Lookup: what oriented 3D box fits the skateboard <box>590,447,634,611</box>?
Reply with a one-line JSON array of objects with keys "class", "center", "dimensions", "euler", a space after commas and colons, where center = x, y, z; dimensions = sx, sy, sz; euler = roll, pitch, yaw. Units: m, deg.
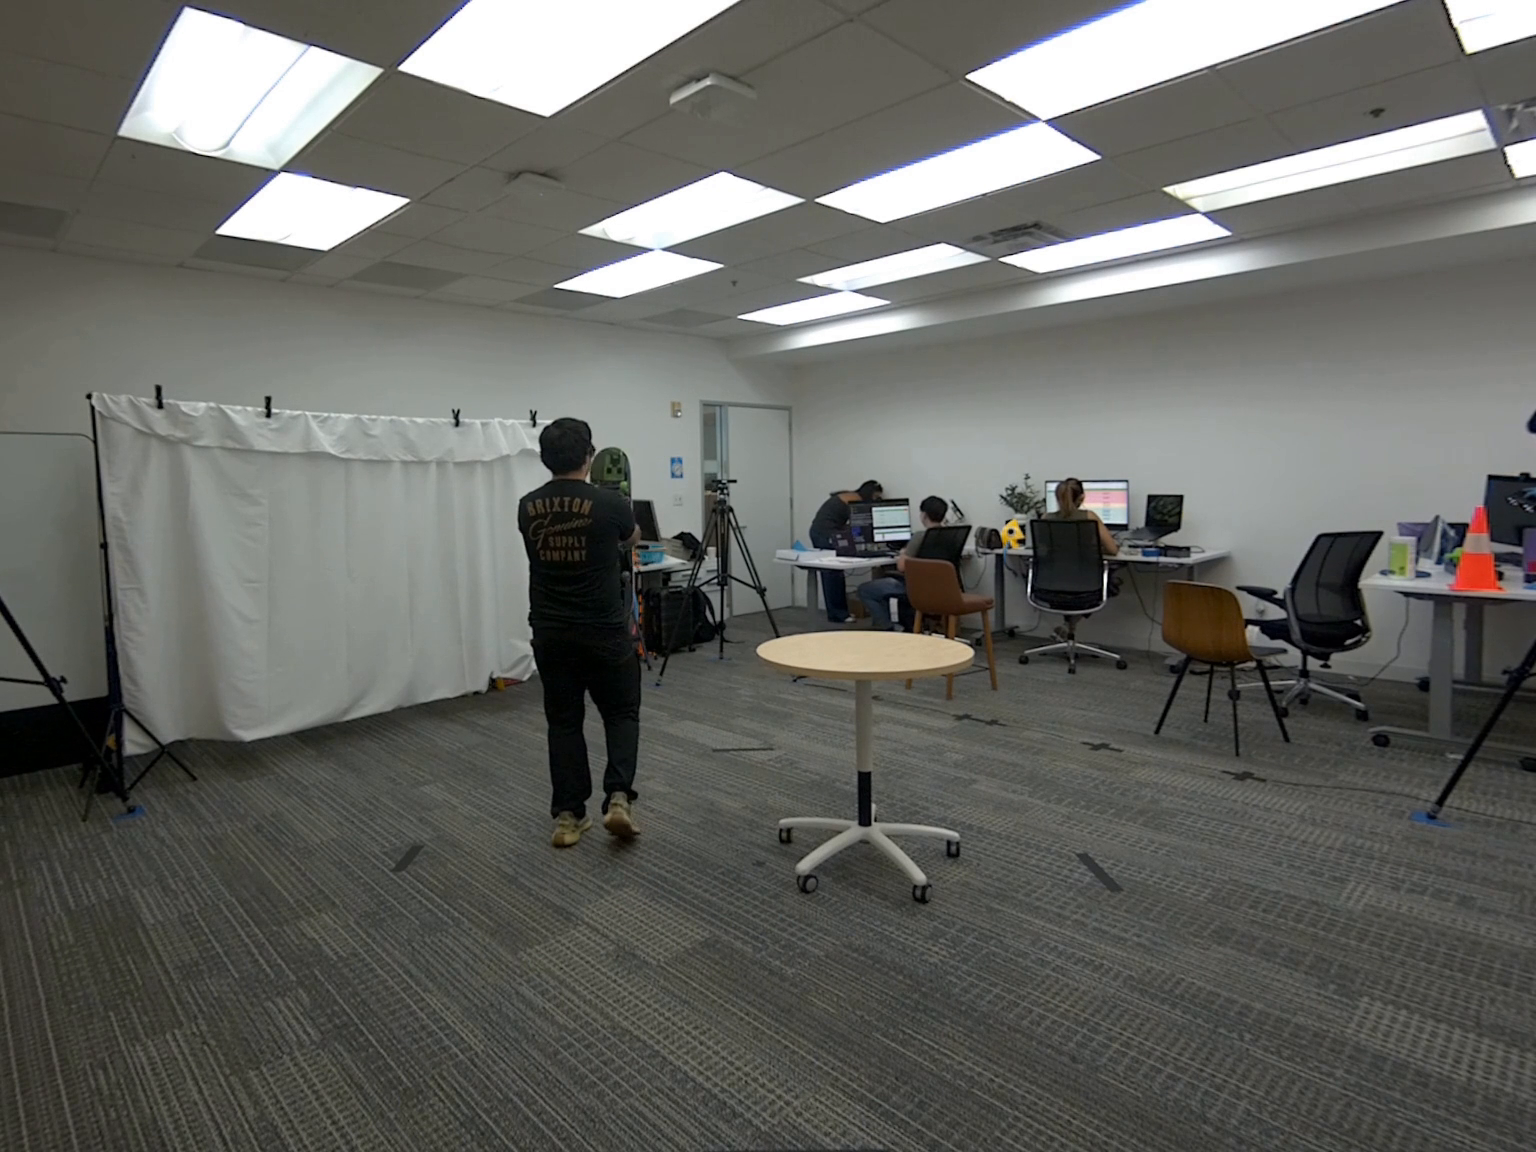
[{"class": "skateboard", "center": [-0.703, -0.188, 3.819], "dimensions": [0.195, 0.788, 0.109], "euler": [-4, -4, 7]}]
